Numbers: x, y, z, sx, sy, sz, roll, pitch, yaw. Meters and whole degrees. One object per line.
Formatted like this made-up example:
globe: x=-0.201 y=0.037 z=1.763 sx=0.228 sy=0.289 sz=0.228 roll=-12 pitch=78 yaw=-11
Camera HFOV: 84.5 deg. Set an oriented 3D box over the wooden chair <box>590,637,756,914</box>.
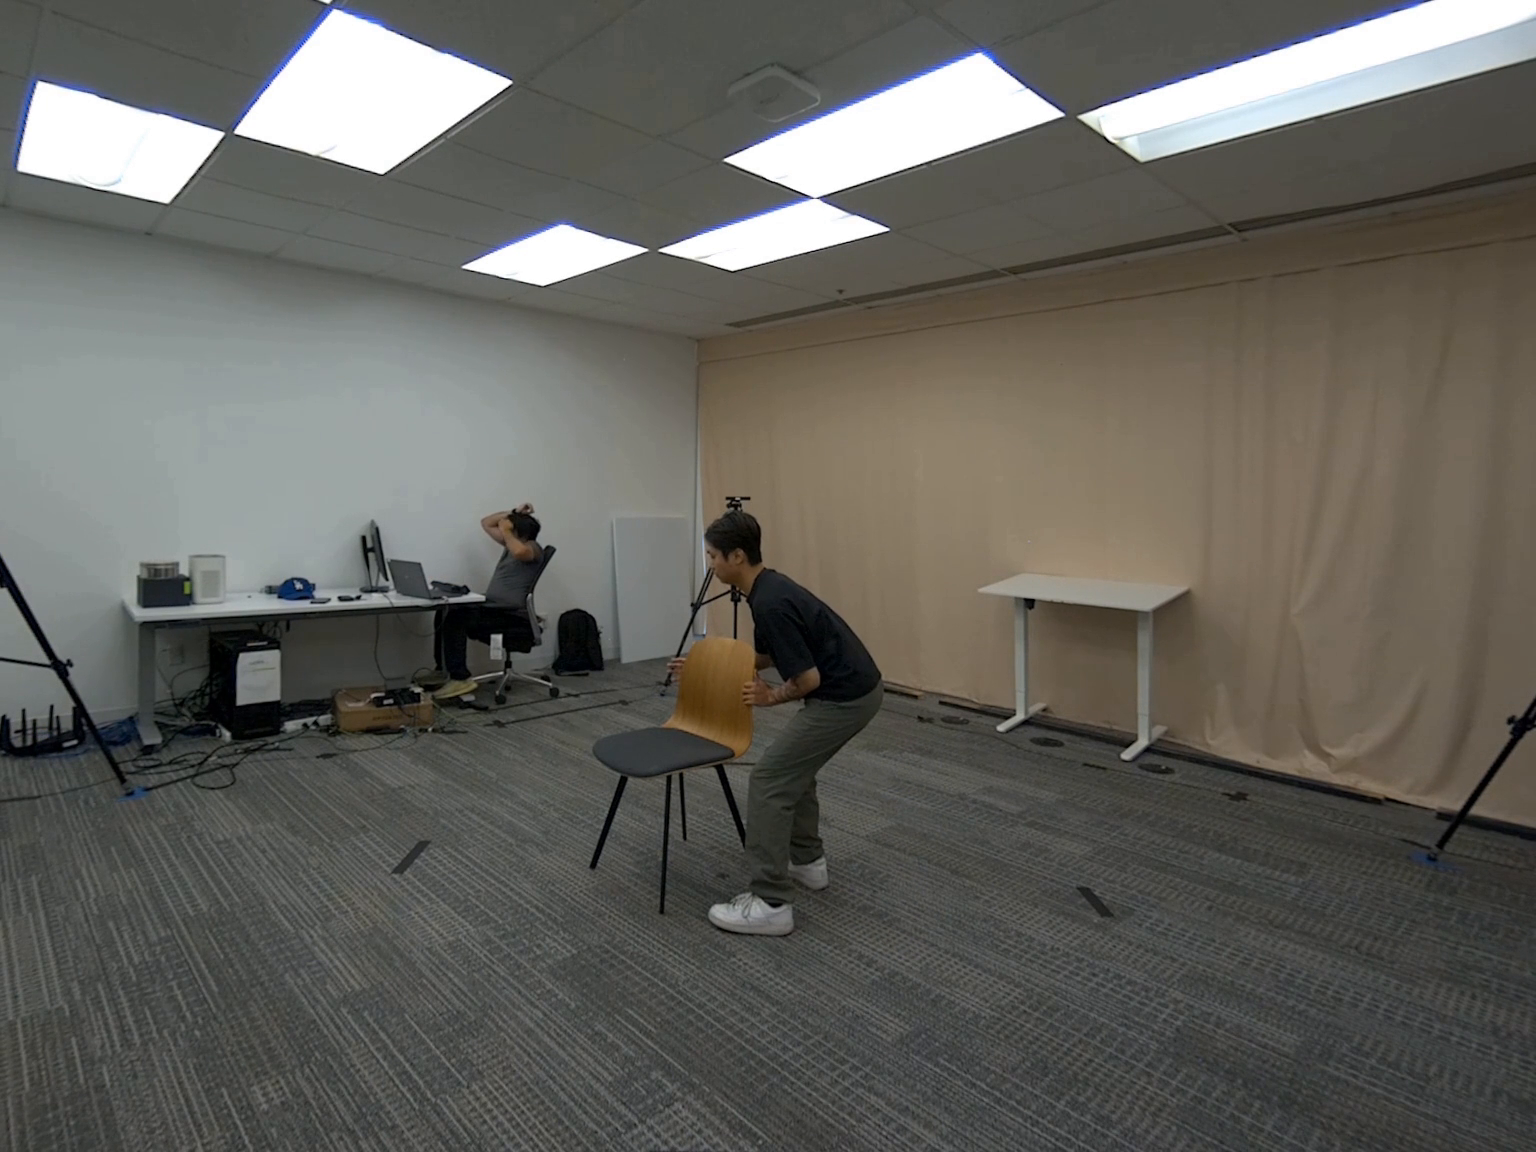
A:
wooden chair: x=-0.349 y=0.672 z=3.088 sx=0.510 sy=0.877 sz=0.490 roll=4 pitch=0 yaw=-43
